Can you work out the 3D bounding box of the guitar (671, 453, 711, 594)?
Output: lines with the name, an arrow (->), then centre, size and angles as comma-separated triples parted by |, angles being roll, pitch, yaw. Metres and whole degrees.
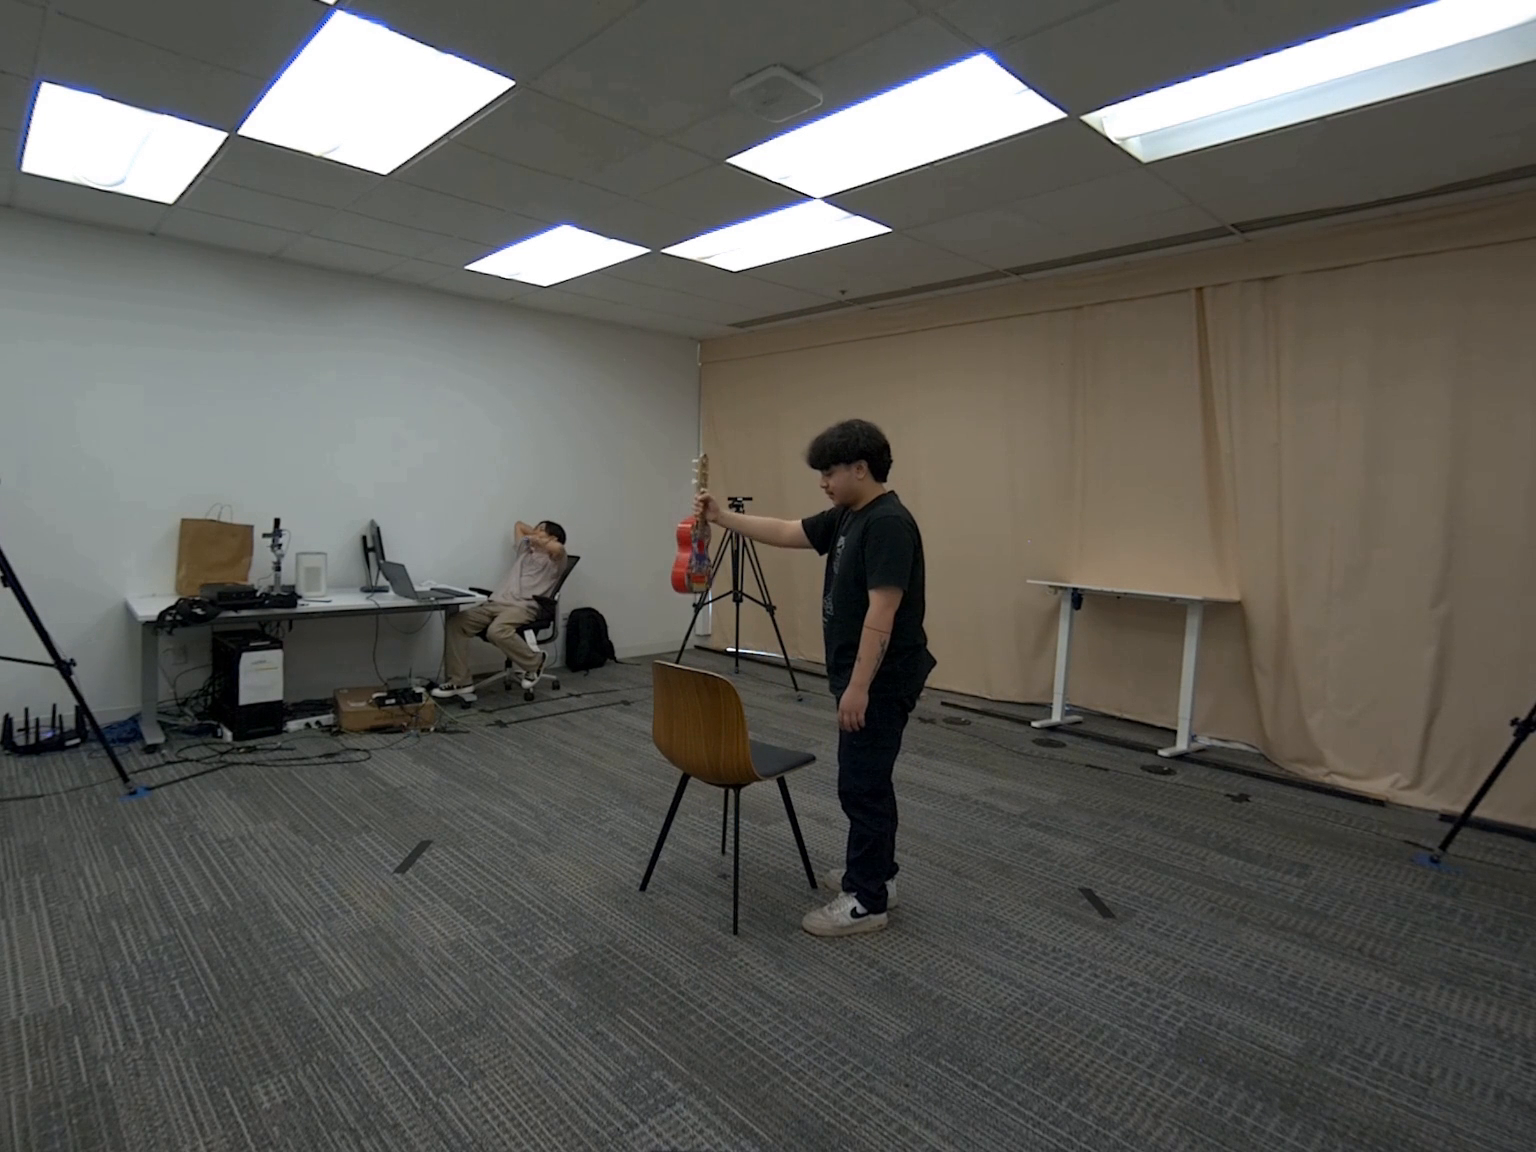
guitar -> -0.248, -0.179, 3.033 | 0.072, 0.500, 0.188 | 3, -8, 28
